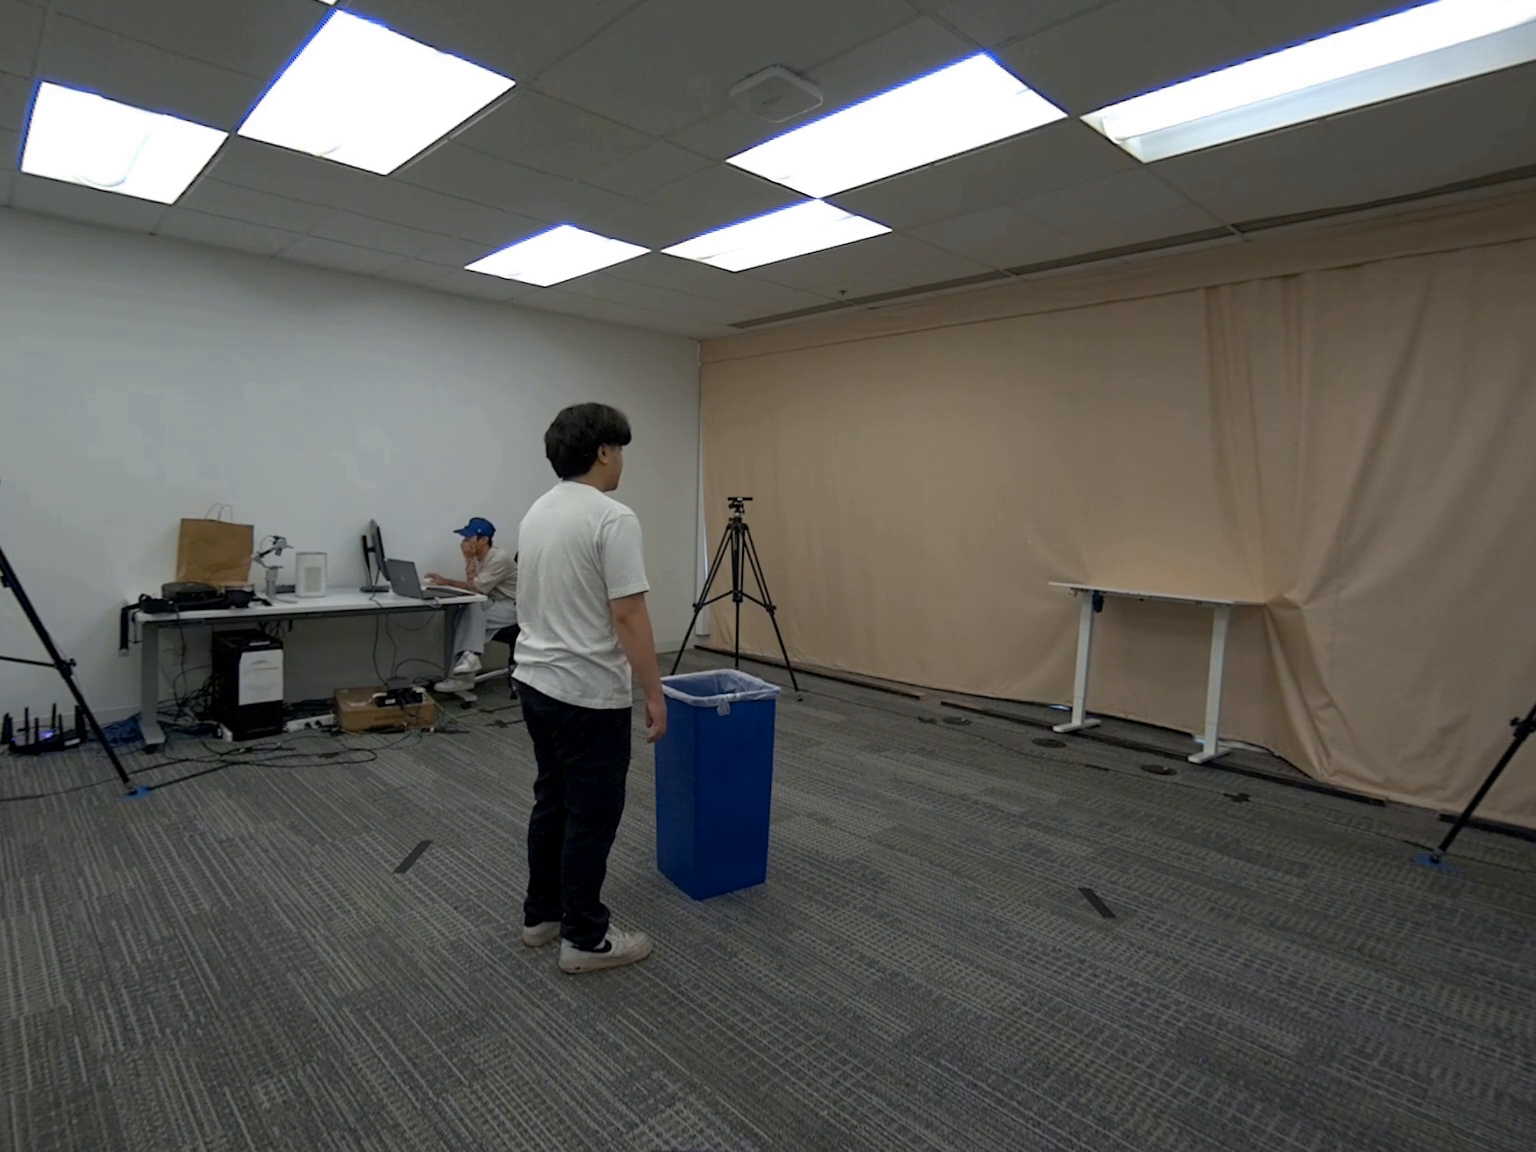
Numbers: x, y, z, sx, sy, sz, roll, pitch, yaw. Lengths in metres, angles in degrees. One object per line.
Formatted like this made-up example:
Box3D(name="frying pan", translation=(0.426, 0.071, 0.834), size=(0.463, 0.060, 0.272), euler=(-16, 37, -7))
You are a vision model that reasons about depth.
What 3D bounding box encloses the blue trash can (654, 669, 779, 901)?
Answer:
Box3D(name="blue trash can", translation=(-0.215, 0.748, 3.095), size=(0.370, 0.712, 0.383), euler=(-1, 4, -34))
